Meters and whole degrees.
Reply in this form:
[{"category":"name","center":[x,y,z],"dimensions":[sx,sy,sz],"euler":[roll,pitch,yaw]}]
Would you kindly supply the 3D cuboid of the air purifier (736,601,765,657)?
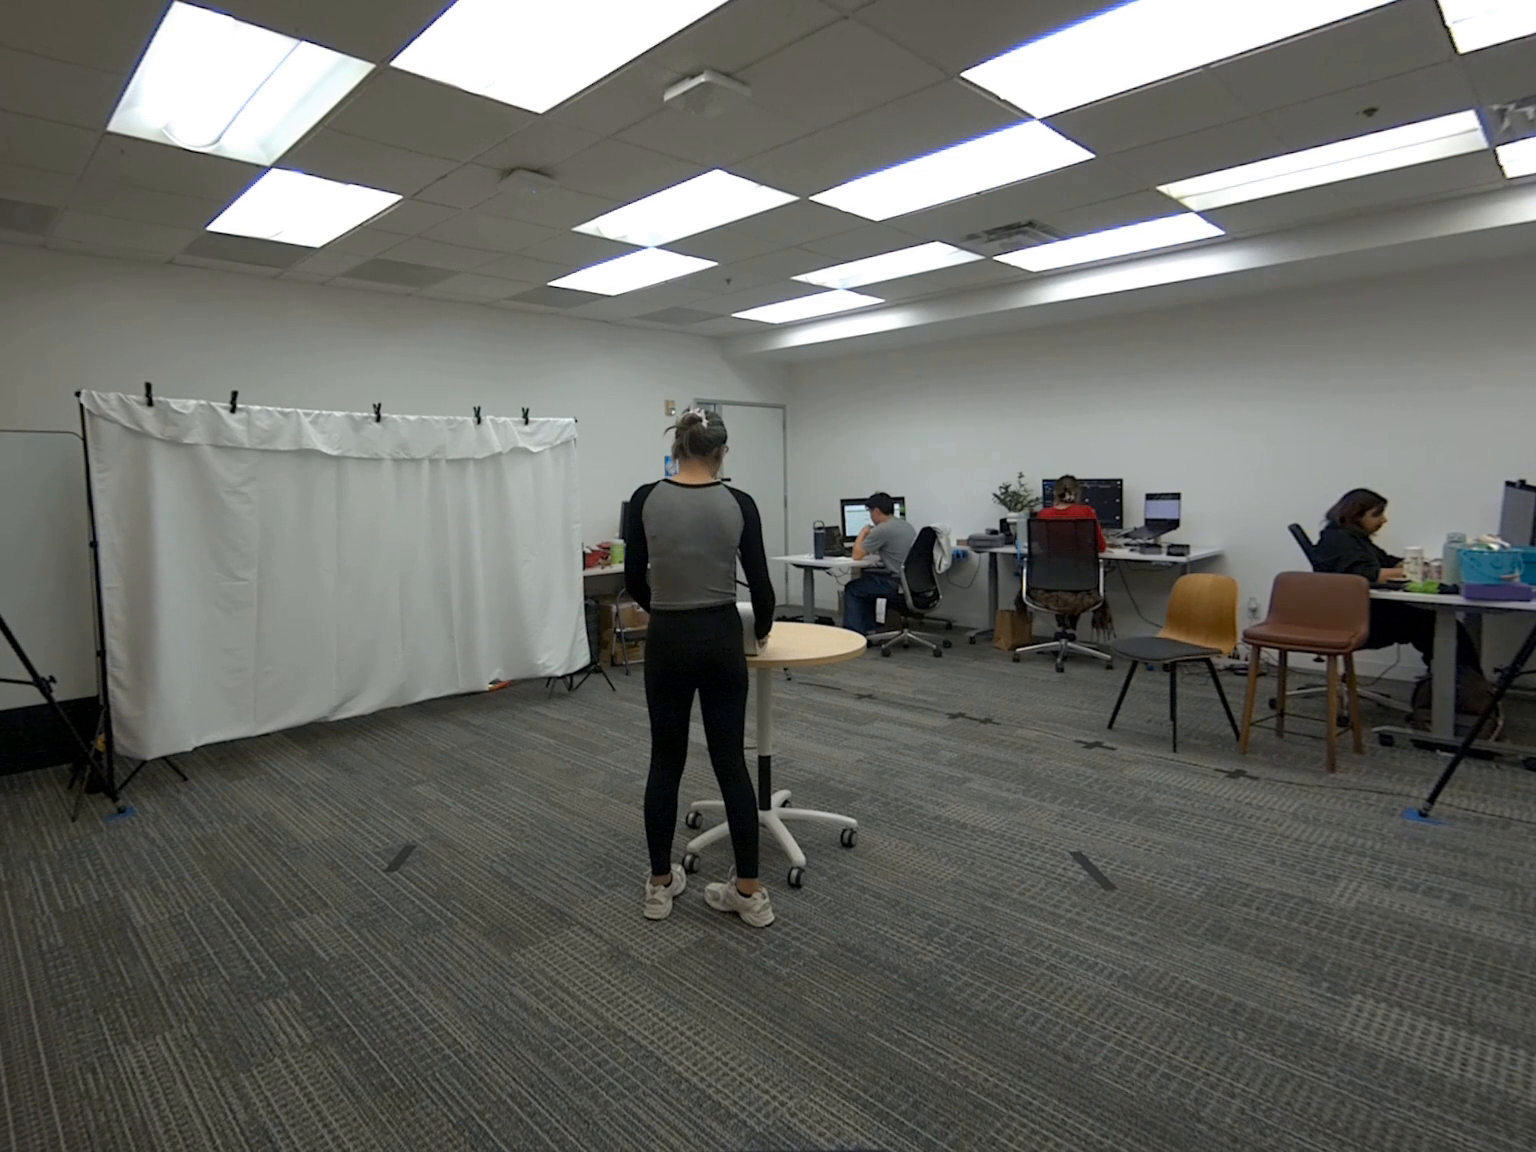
[{"category":"air purifier","center":[-0.140,0.174,2.980],"dimensions":[0.270,0.171,0.169],"euler":[1,7,18]}]
